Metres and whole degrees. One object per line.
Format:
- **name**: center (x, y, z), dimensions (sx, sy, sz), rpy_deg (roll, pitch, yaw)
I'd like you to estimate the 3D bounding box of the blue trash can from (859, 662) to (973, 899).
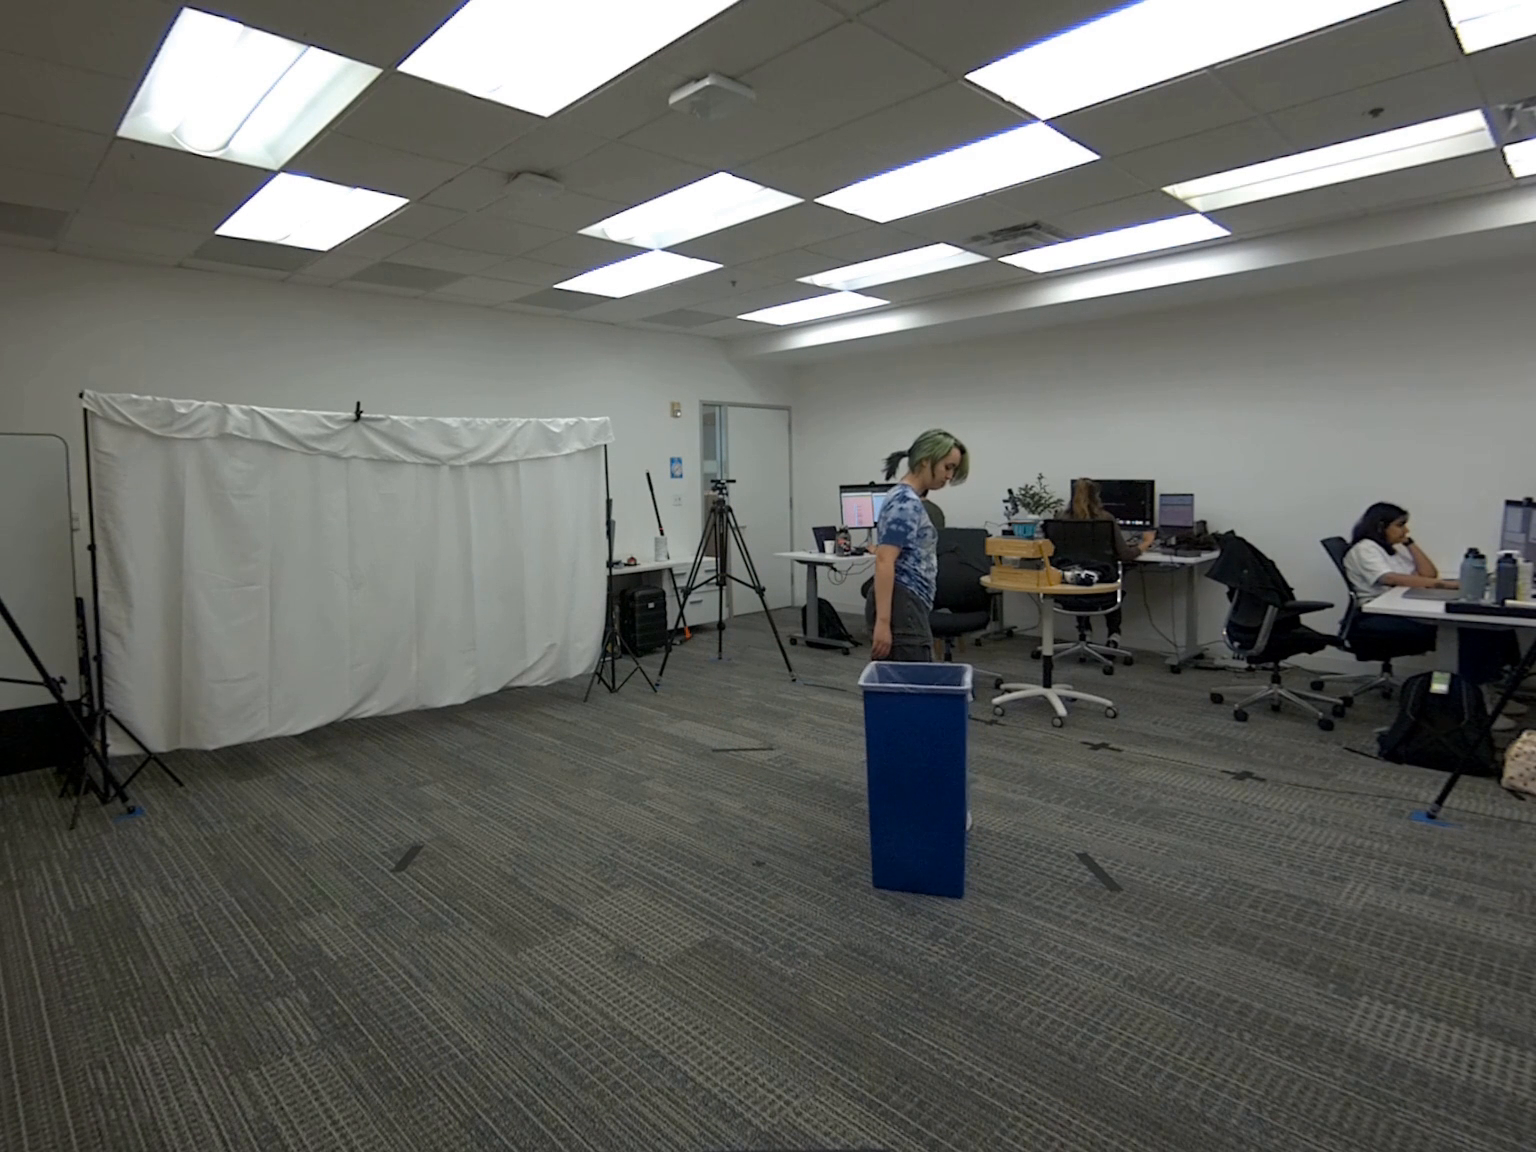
- **blue trash can**: center (0.522, 0.693, 2.984), dimensions (0.380, 0.711, 0.374), rpy_deg (0, 4, 14)
